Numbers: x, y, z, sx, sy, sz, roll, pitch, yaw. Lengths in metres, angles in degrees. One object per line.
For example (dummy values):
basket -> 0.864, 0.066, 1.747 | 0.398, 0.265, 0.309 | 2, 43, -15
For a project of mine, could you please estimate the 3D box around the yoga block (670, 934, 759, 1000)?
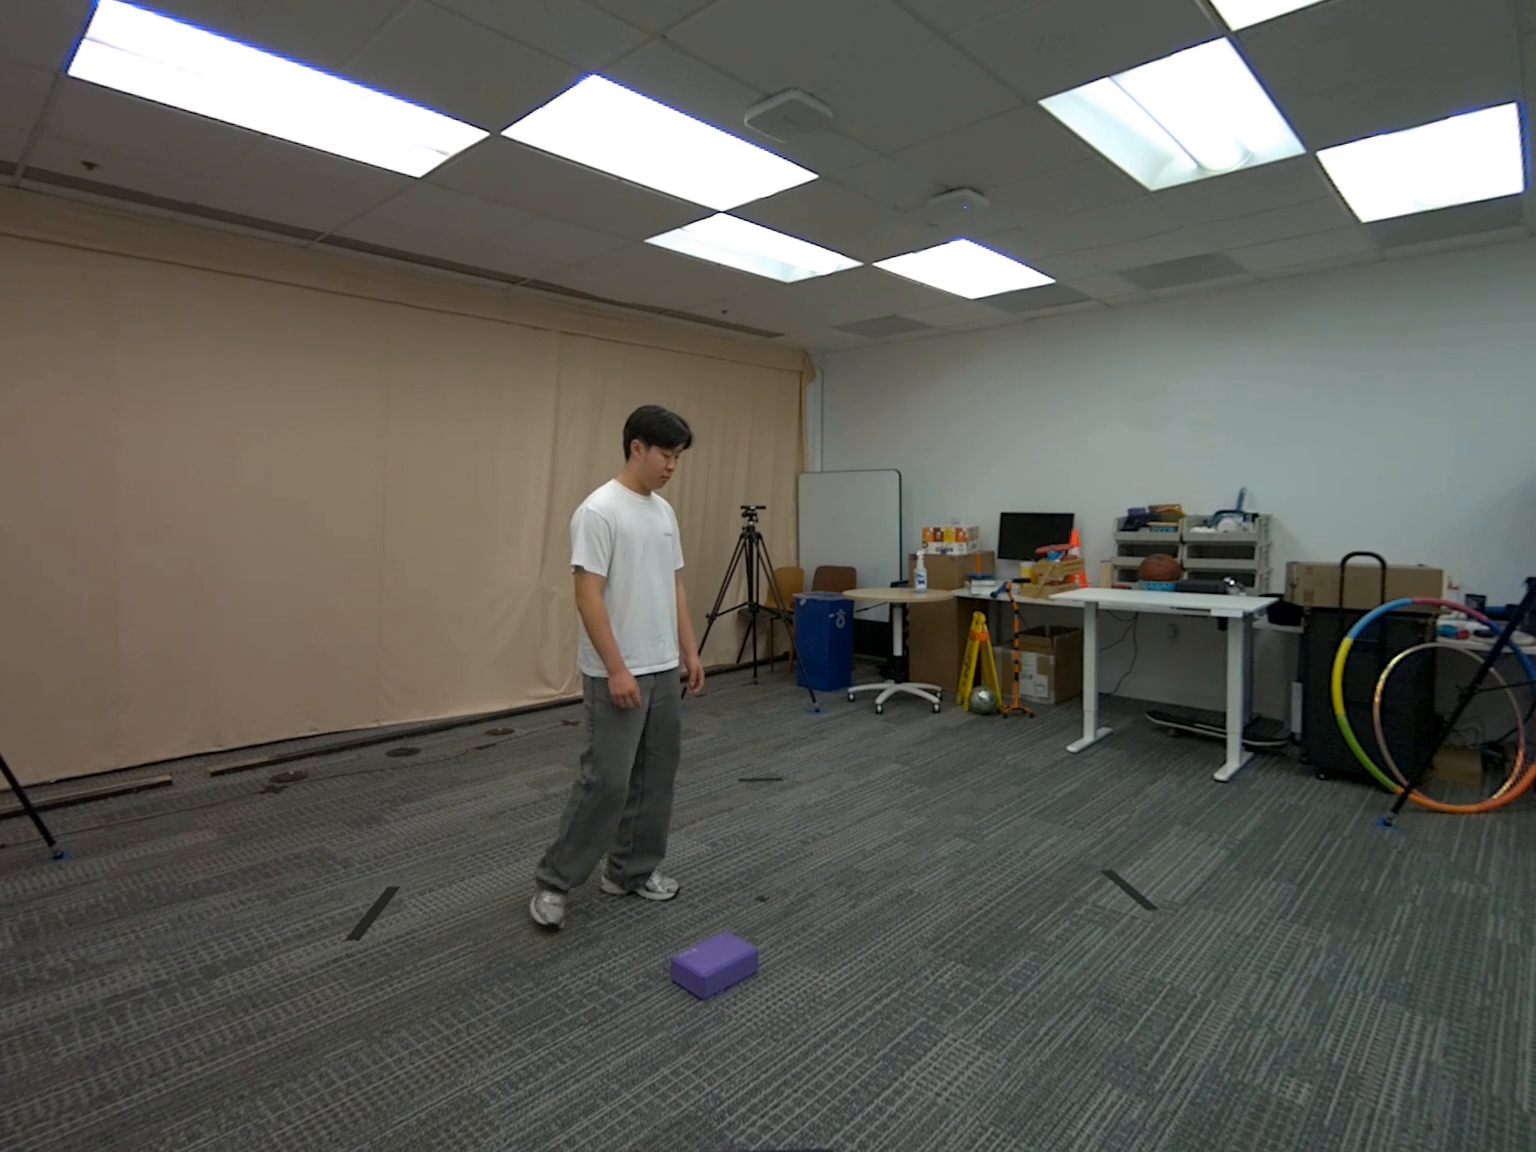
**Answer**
yoga block -> -0.147, 1.150, 2.485 | 0.222, 0.076, 0.154 | -5, 6, -44
